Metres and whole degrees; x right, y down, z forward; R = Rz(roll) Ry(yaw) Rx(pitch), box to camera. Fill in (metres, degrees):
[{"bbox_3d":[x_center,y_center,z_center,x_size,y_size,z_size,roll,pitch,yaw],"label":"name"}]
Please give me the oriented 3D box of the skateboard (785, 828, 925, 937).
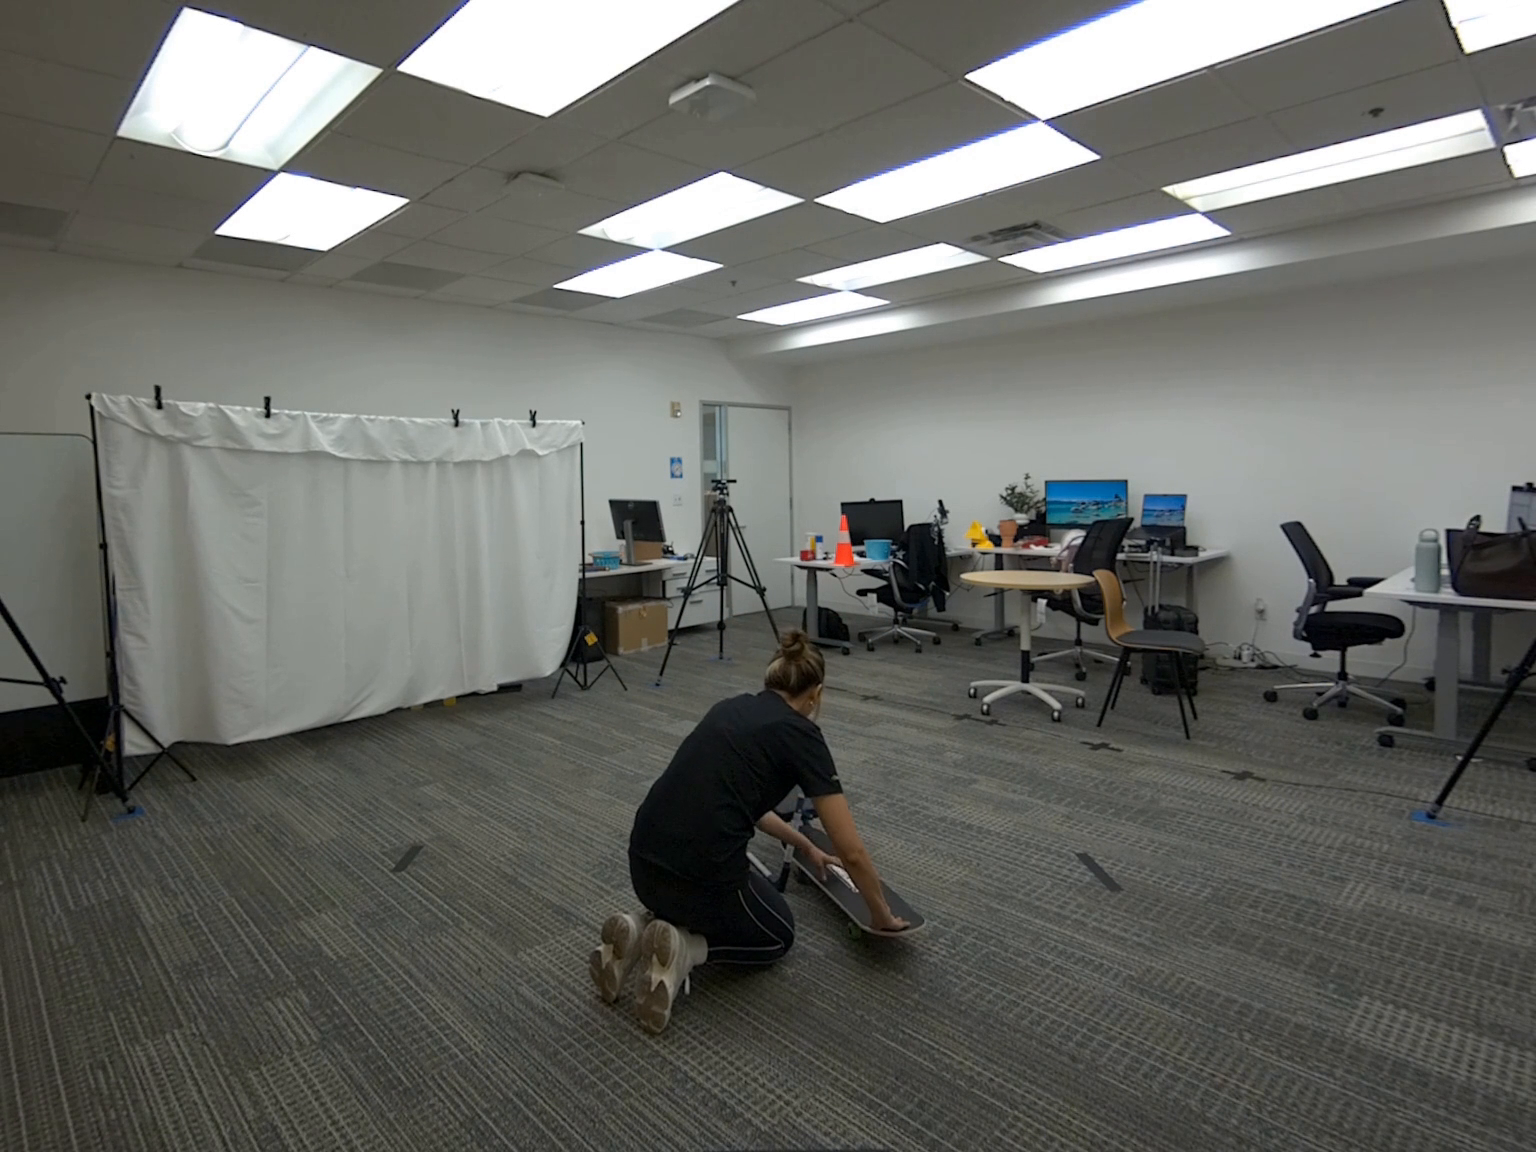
[{"bbox_3d":[0.247,1.004,2.807,0.190,0.110,0.803,-5,8,-20],"label":"skateboard"}]
